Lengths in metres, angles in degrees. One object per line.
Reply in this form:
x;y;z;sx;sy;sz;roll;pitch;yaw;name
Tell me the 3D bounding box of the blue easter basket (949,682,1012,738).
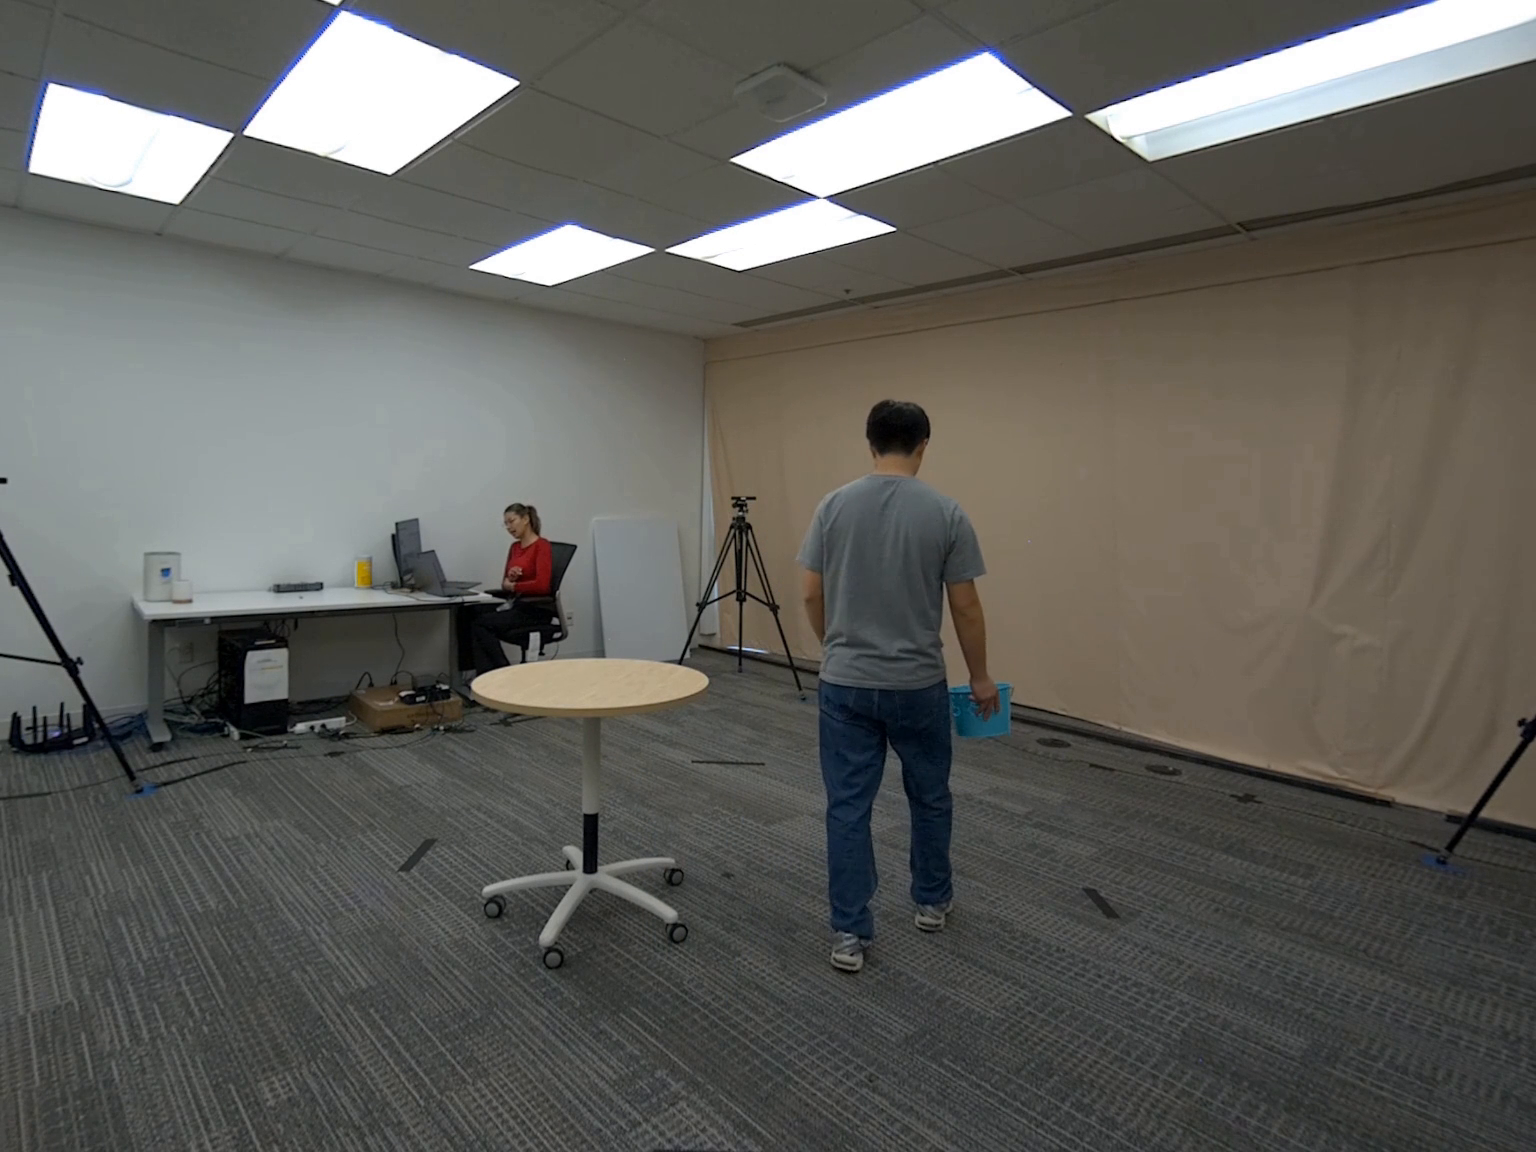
0.706;0.450;2.832;0.243;0.156;0.243;-6;-2;-2;blue easter basket
